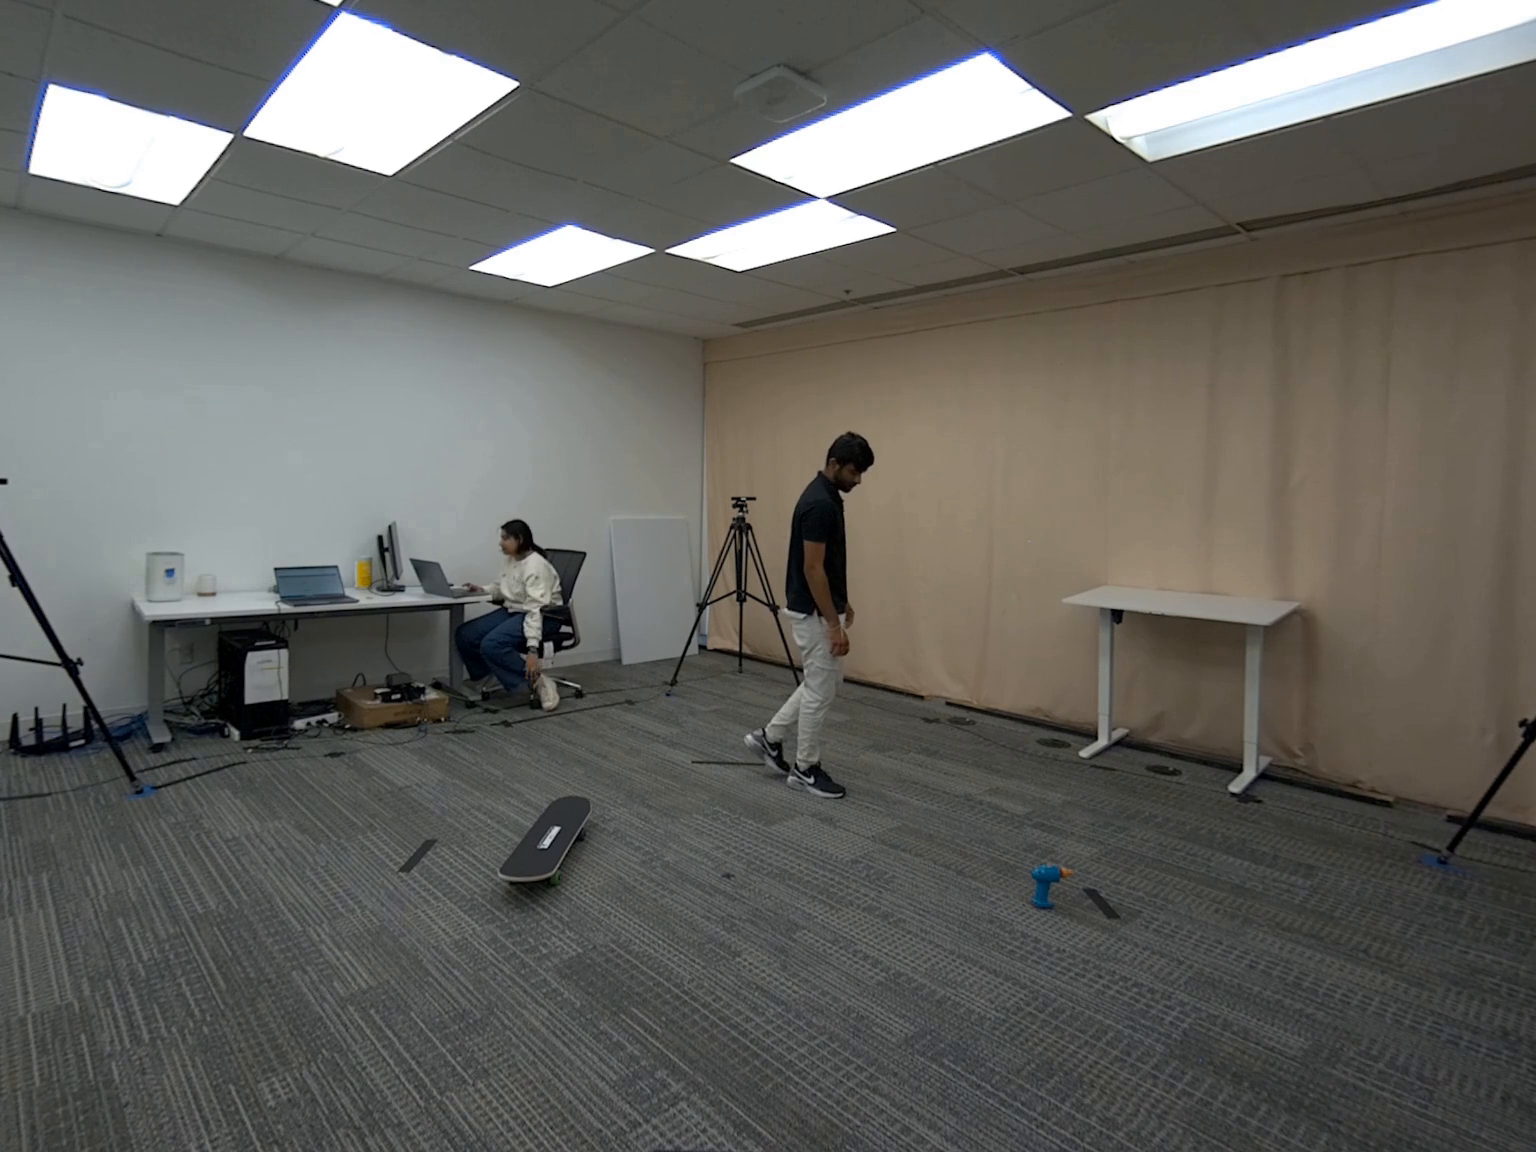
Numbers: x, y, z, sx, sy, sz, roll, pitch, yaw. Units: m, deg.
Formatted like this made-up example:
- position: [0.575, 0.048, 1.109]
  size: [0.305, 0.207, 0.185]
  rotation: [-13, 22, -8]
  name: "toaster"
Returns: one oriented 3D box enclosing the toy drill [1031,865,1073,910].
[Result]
- position: [0.992, 1.083, 2.942]
  size: [0.168, 0.146, 0.062]
  rotation: [4, 3, -14]
  name: "toy drill"
